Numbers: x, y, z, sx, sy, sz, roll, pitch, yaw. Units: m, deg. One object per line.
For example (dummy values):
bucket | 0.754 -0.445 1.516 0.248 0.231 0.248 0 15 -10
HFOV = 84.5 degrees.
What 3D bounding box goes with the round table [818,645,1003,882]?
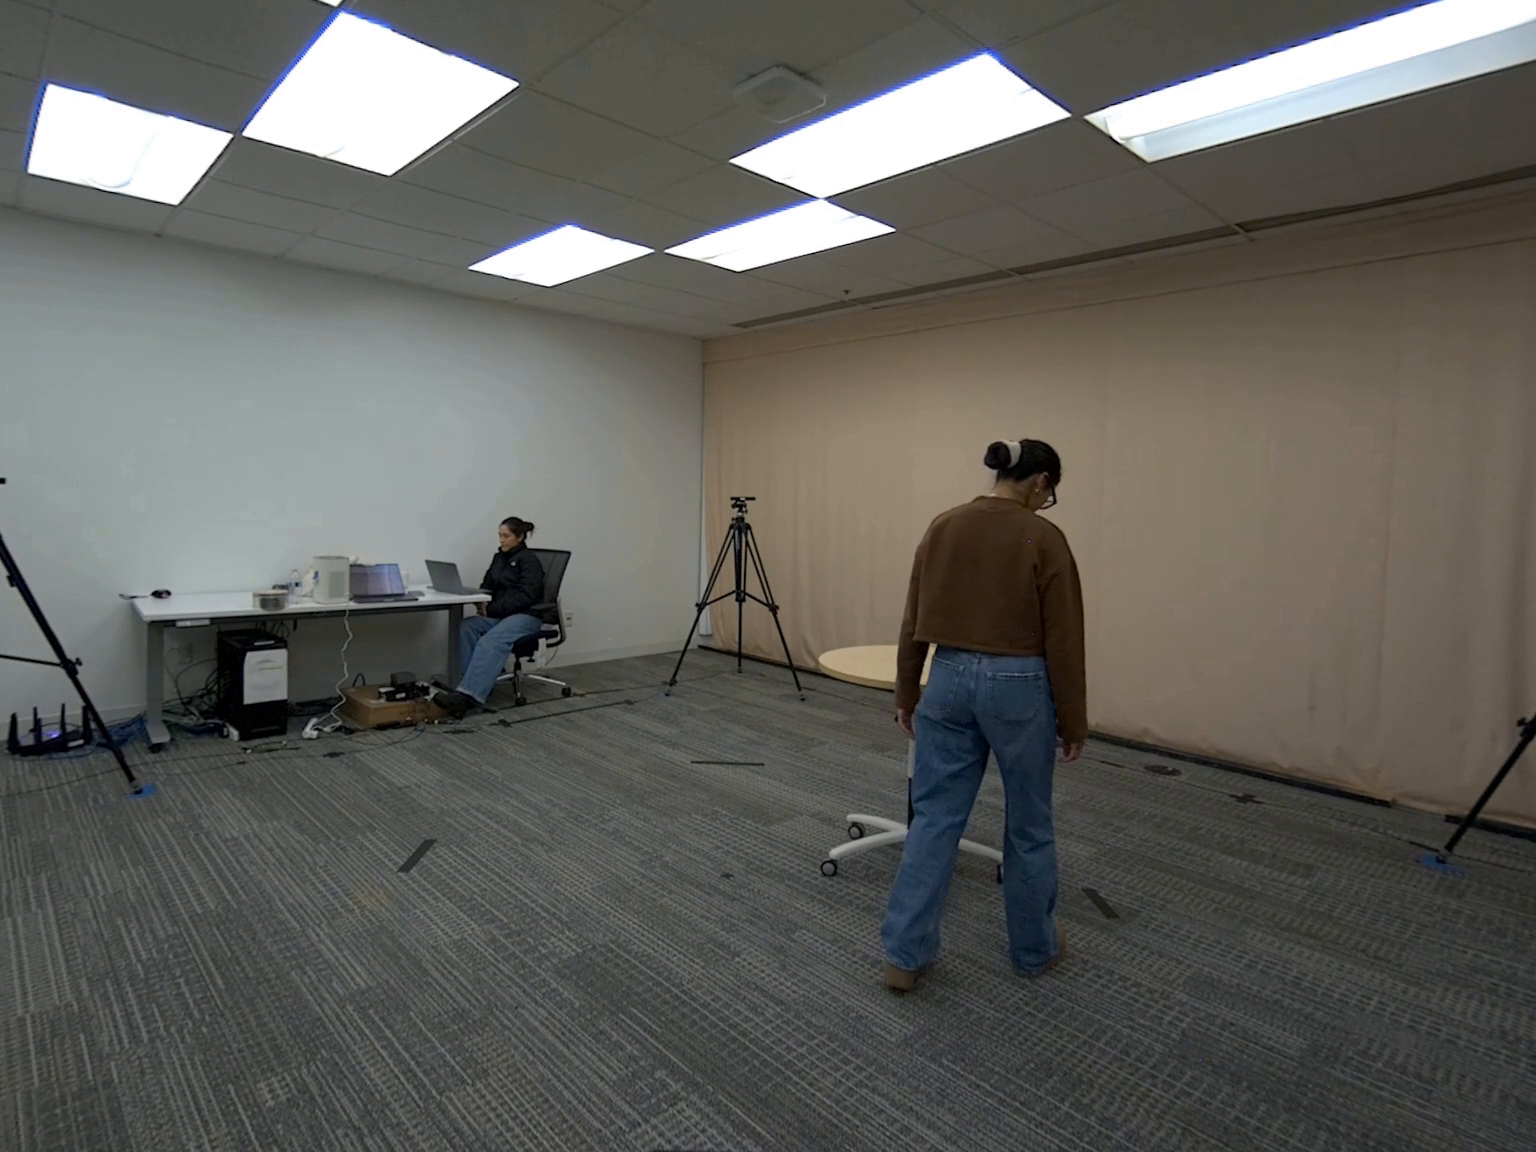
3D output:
round table | 0.556 0.726 3.210 0.763 0.792 0.766 1 4 -1
